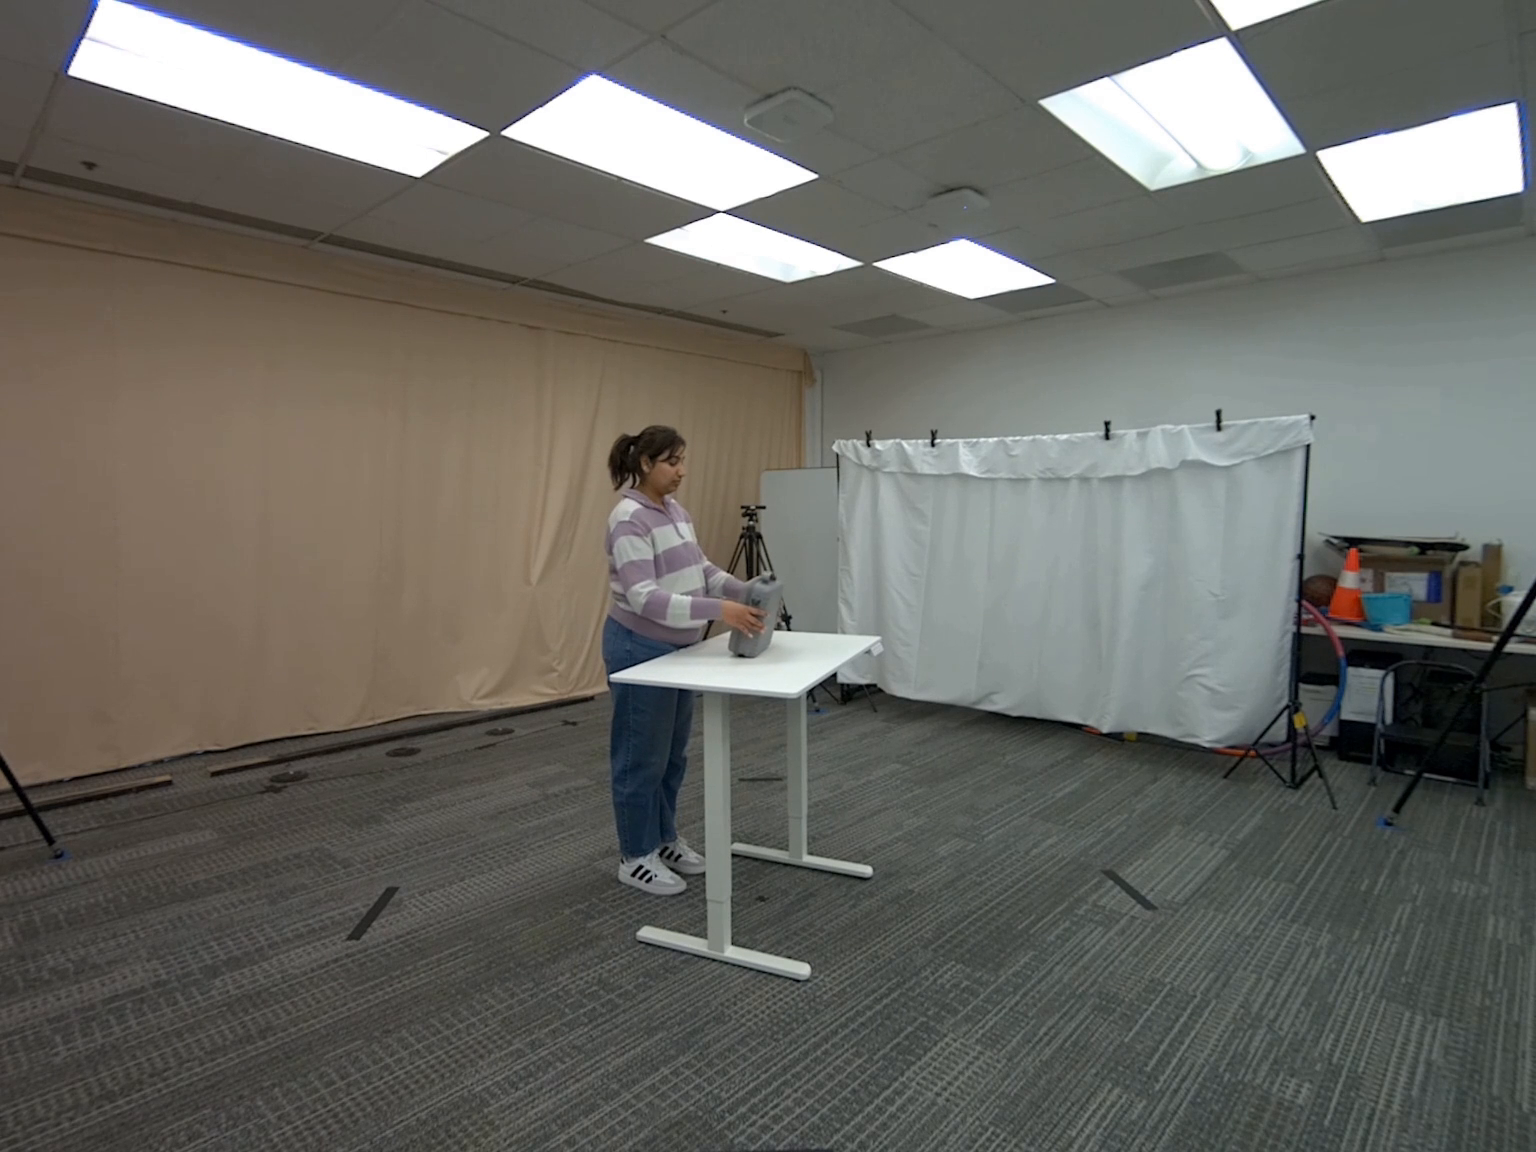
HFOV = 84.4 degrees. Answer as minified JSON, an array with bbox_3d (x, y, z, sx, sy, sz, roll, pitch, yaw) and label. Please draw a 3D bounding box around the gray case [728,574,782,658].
[{"bbox_3d":[-0.034,0.134,2.909,0.106,0.259,0.253,15,11,13],"label":"gray case"}]
